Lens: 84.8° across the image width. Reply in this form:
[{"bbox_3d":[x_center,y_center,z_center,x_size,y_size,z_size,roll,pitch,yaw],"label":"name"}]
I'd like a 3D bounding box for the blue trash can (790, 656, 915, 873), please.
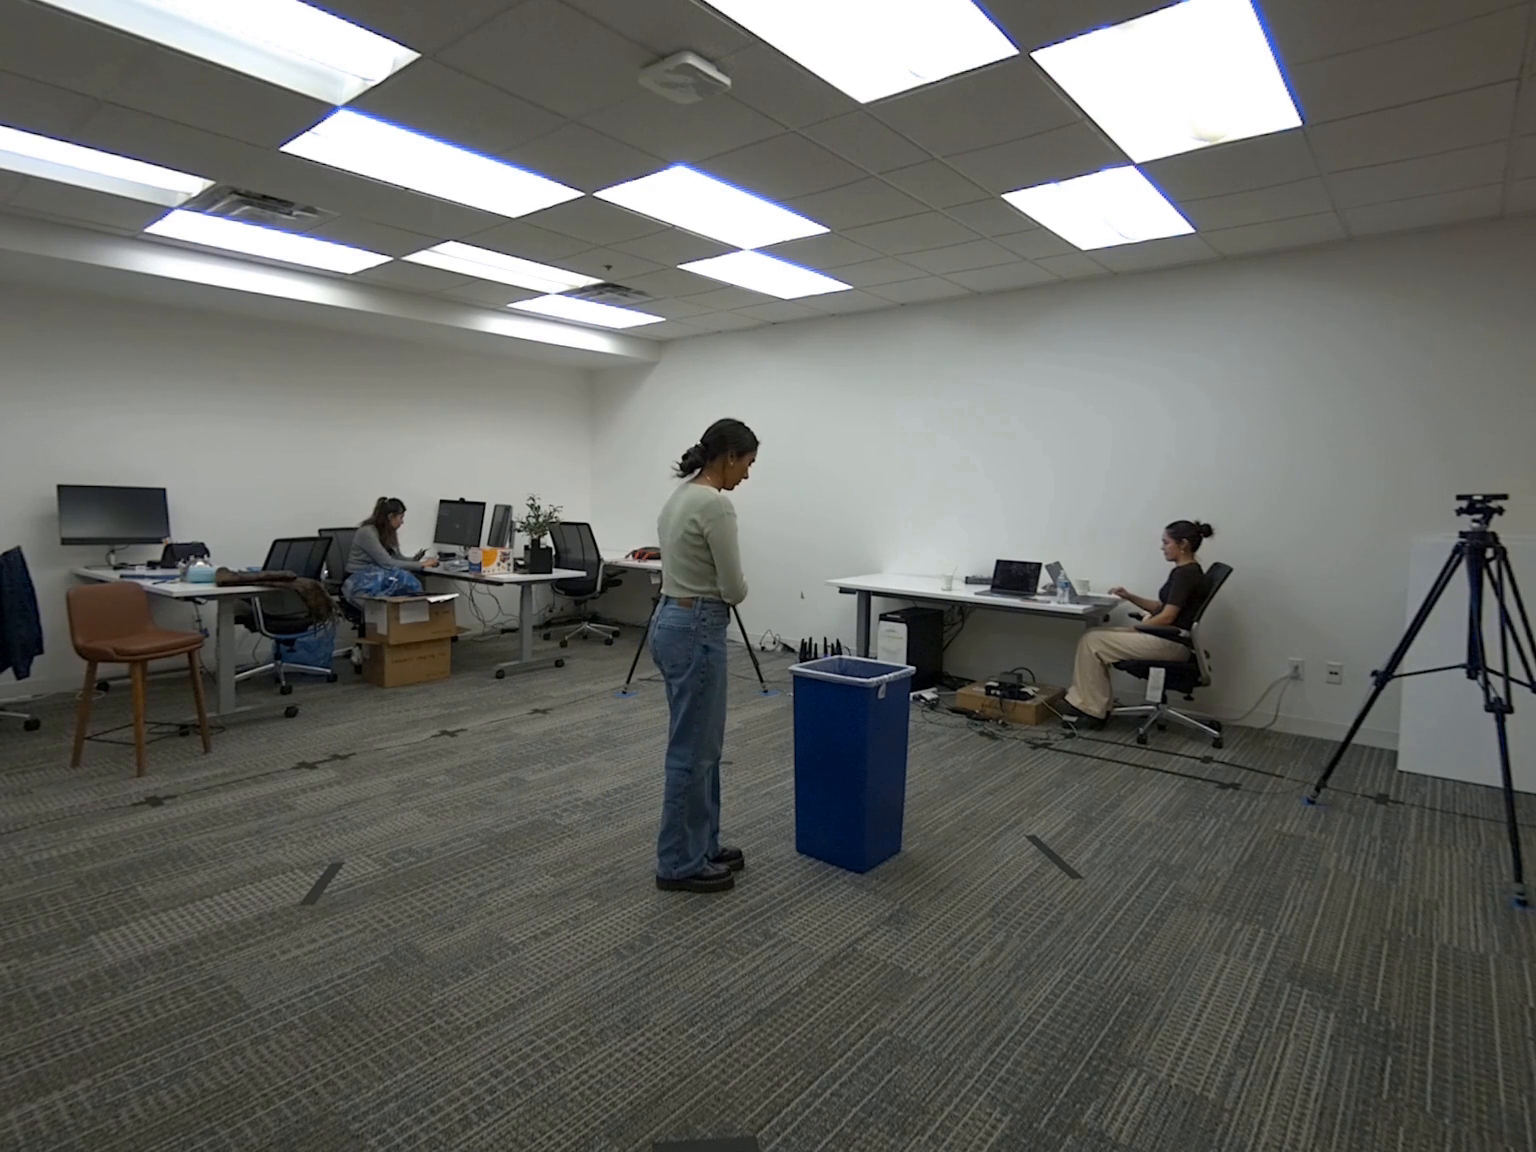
[{"bbox_3d":[0.312,0.700,3.275,0.390,0.712,0.363,3,4,38],"label":"blue trash can"}]
